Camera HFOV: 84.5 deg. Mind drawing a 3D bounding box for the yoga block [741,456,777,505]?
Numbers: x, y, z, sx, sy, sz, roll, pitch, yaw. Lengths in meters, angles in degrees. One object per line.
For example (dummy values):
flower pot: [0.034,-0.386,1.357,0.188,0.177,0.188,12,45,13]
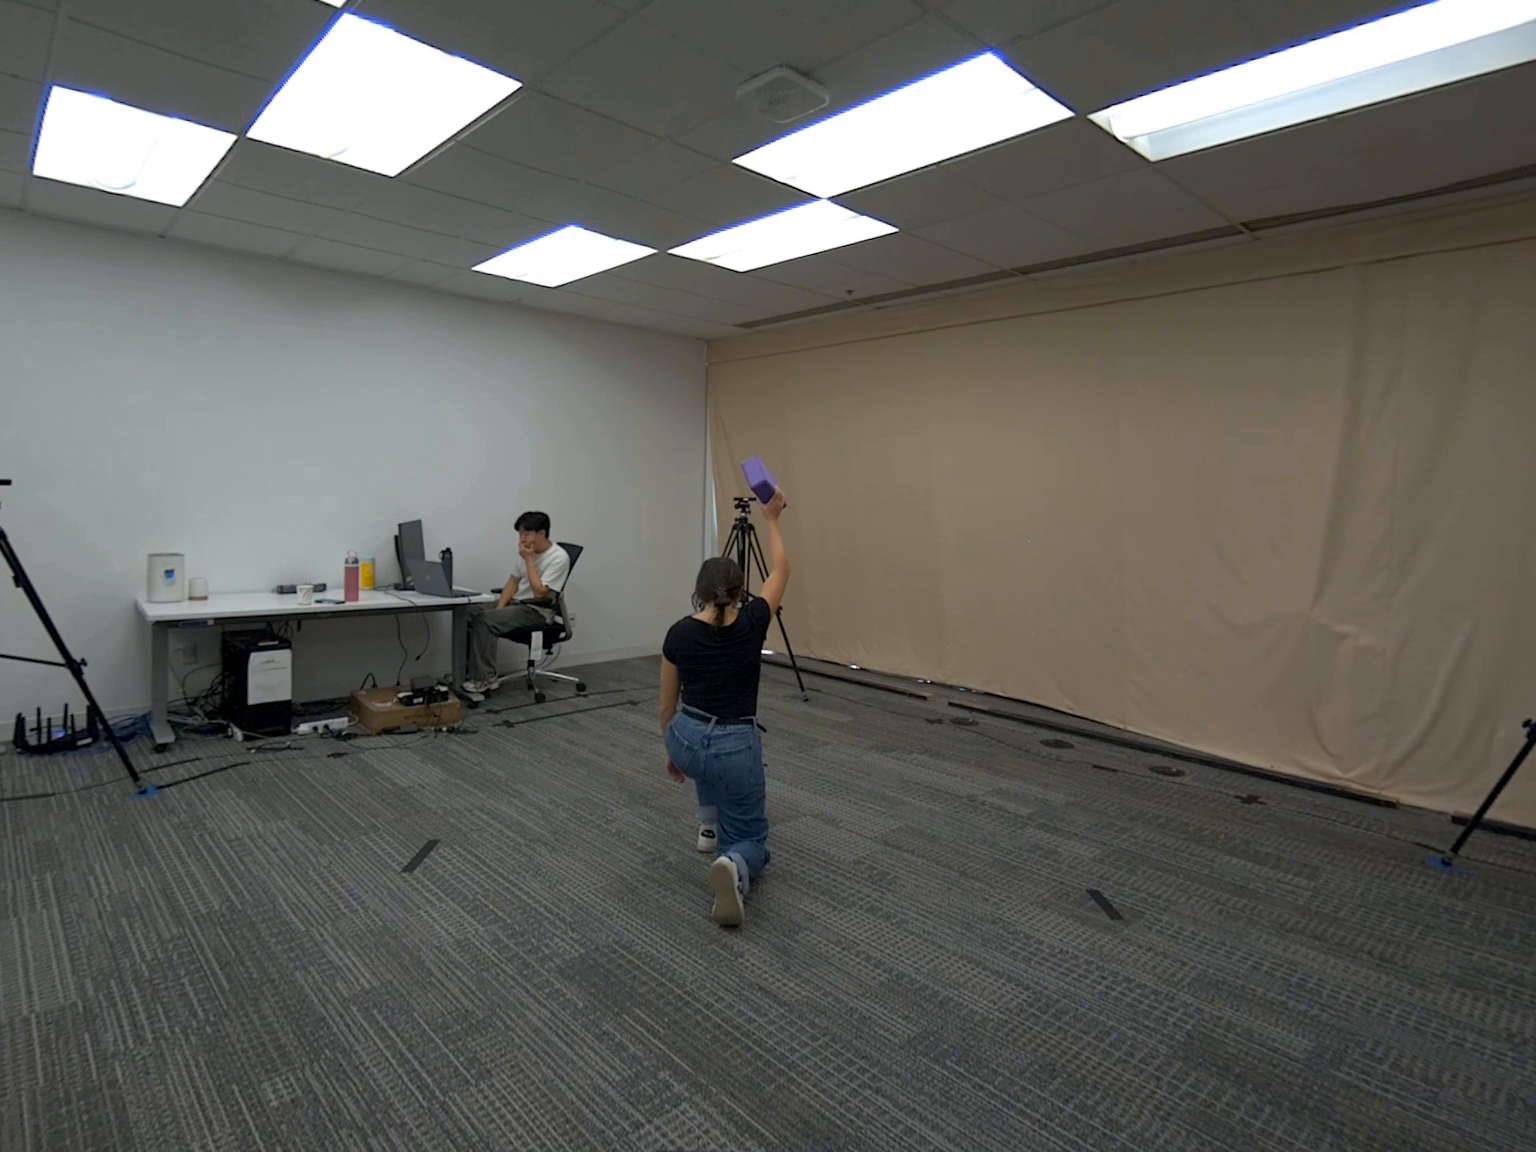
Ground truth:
yoga block: [-0.022,-0.372,3.472,0.077,0.153,0.222,-28,-35,11]
